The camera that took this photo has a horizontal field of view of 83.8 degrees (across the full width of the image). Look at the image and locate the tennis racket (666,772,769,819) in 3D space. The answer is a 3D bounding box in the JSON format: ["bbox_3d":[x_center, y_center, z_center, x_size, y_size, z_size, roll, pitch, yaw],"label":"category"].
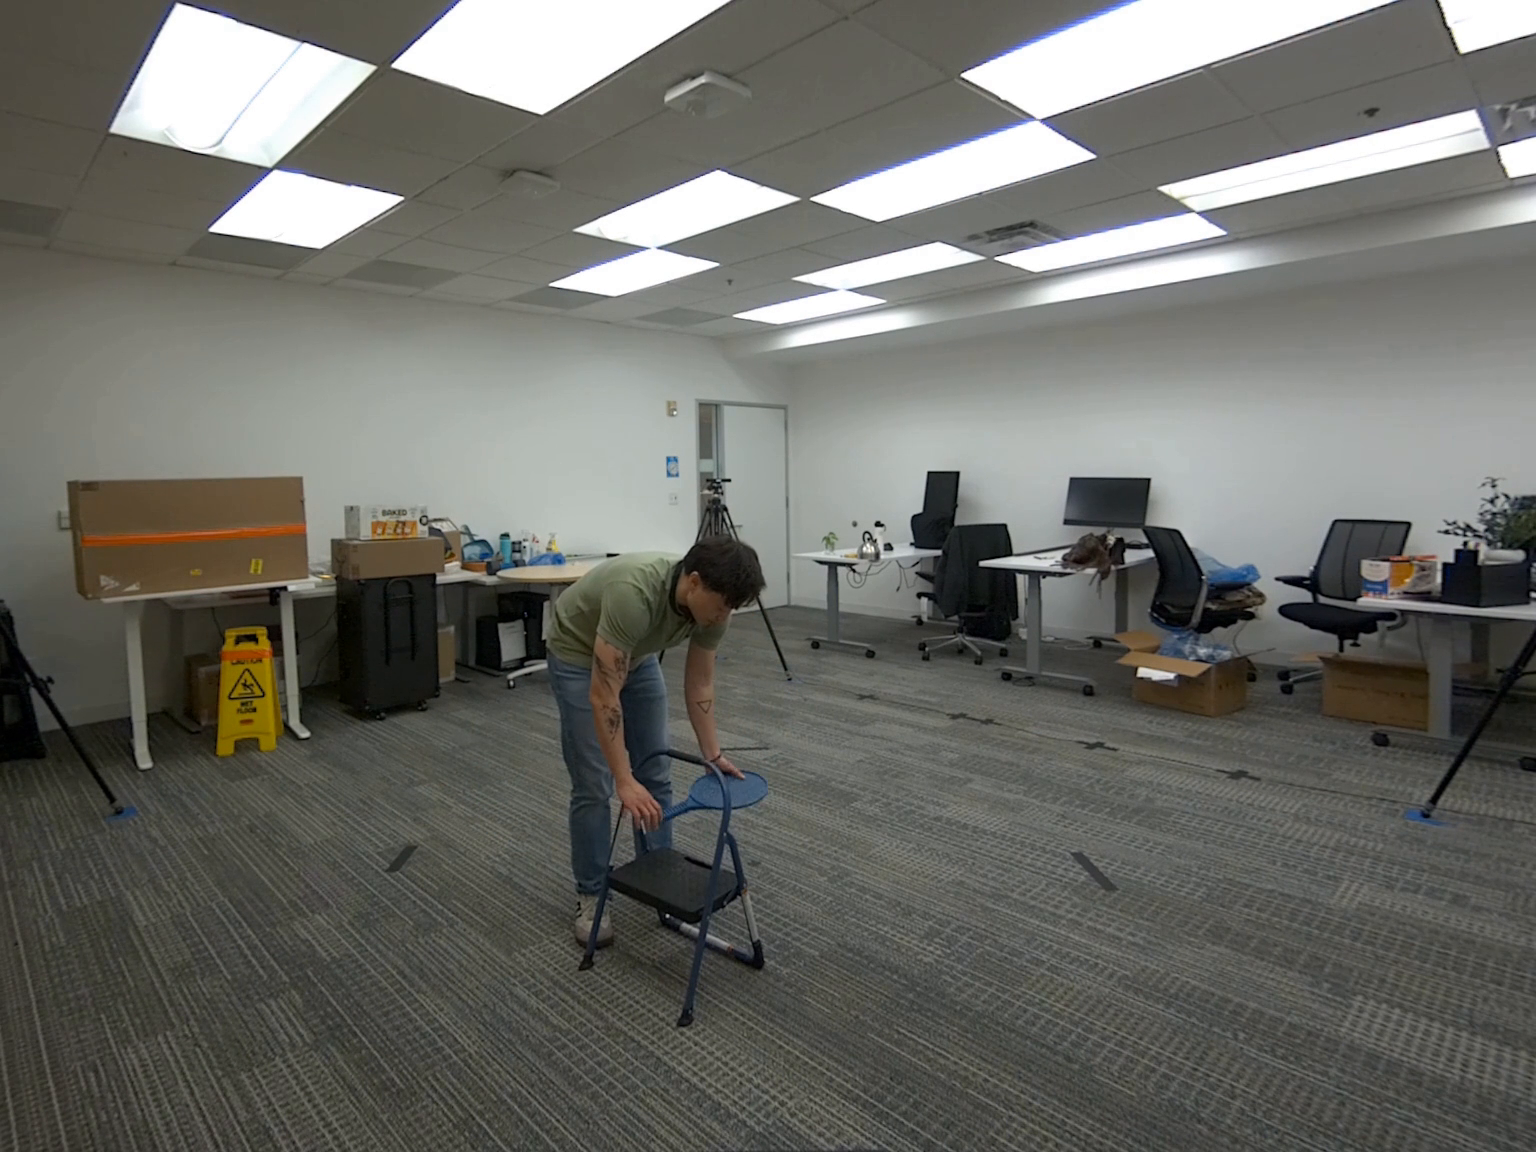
[{"bbox_3d":[-0.190,0.671,2.576,0.423,0.031,0.221,-10,20,-37],"label":"tennis racket"}]
